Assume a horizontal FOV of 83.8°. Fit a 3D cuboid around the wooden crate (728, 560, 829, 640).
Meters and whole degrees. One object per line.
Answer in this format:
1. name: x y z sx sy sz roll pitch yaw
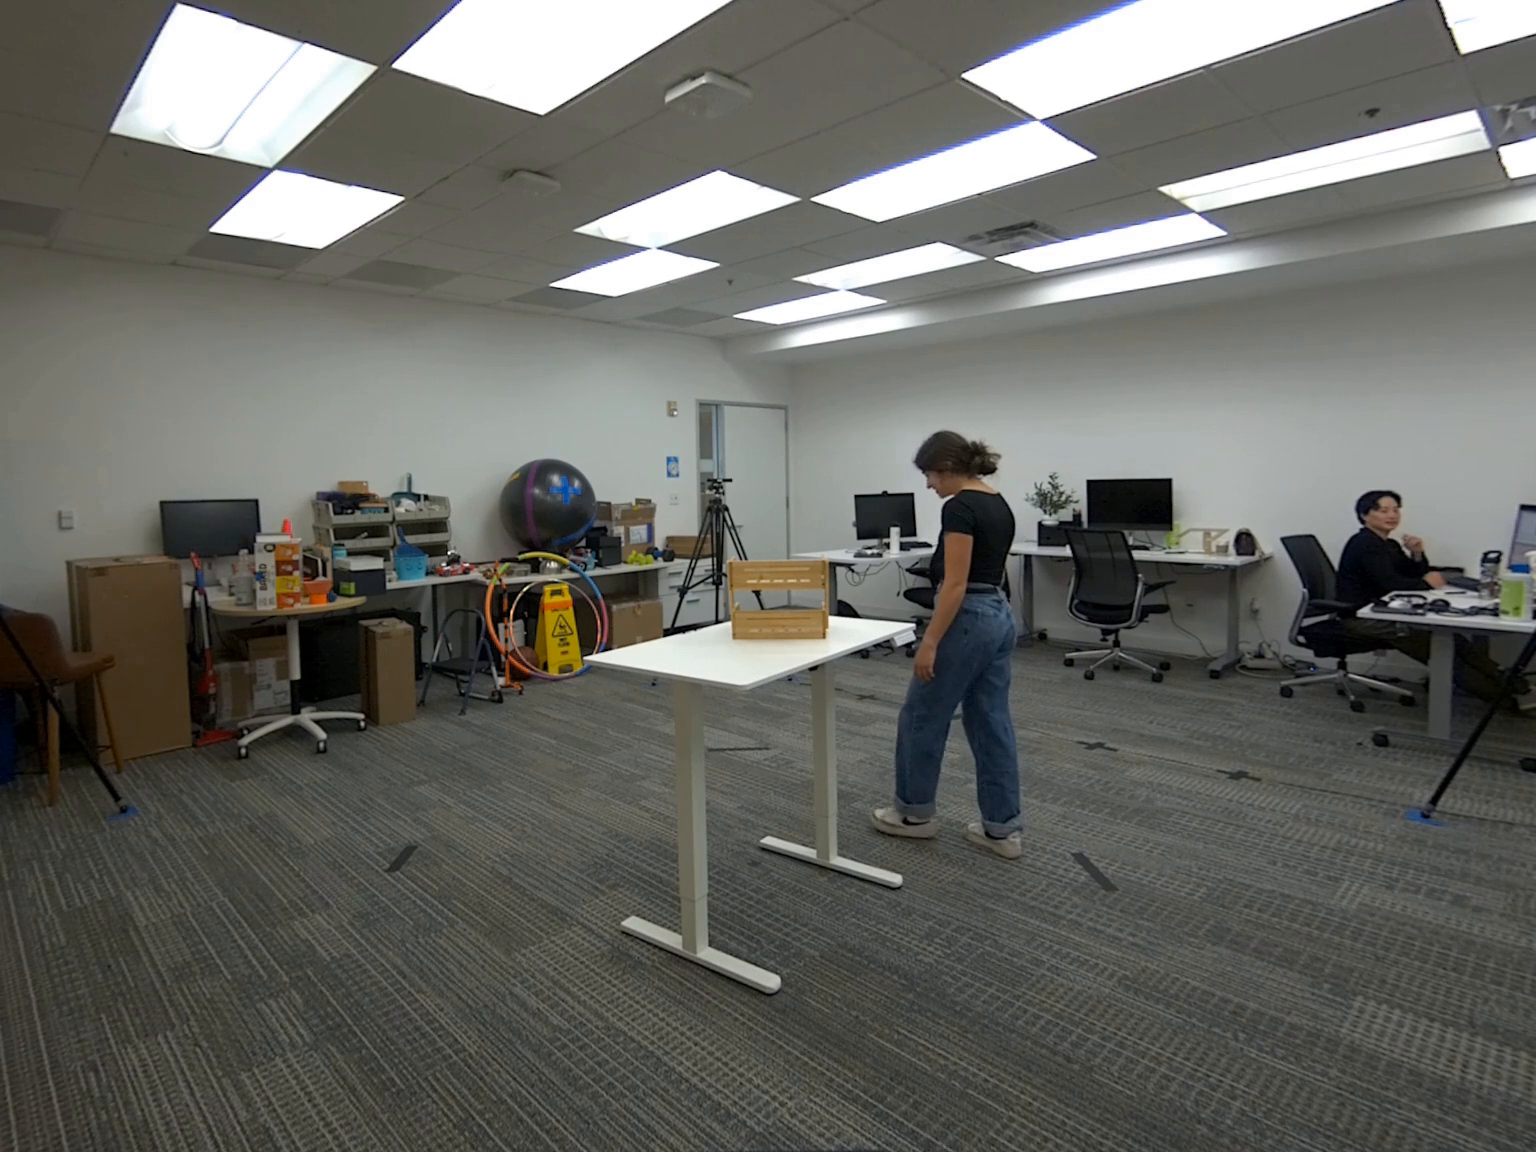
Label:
1. wooden crate: 0.045 0.063 2.833 0.326 0.272 0.302 -1 6 4
